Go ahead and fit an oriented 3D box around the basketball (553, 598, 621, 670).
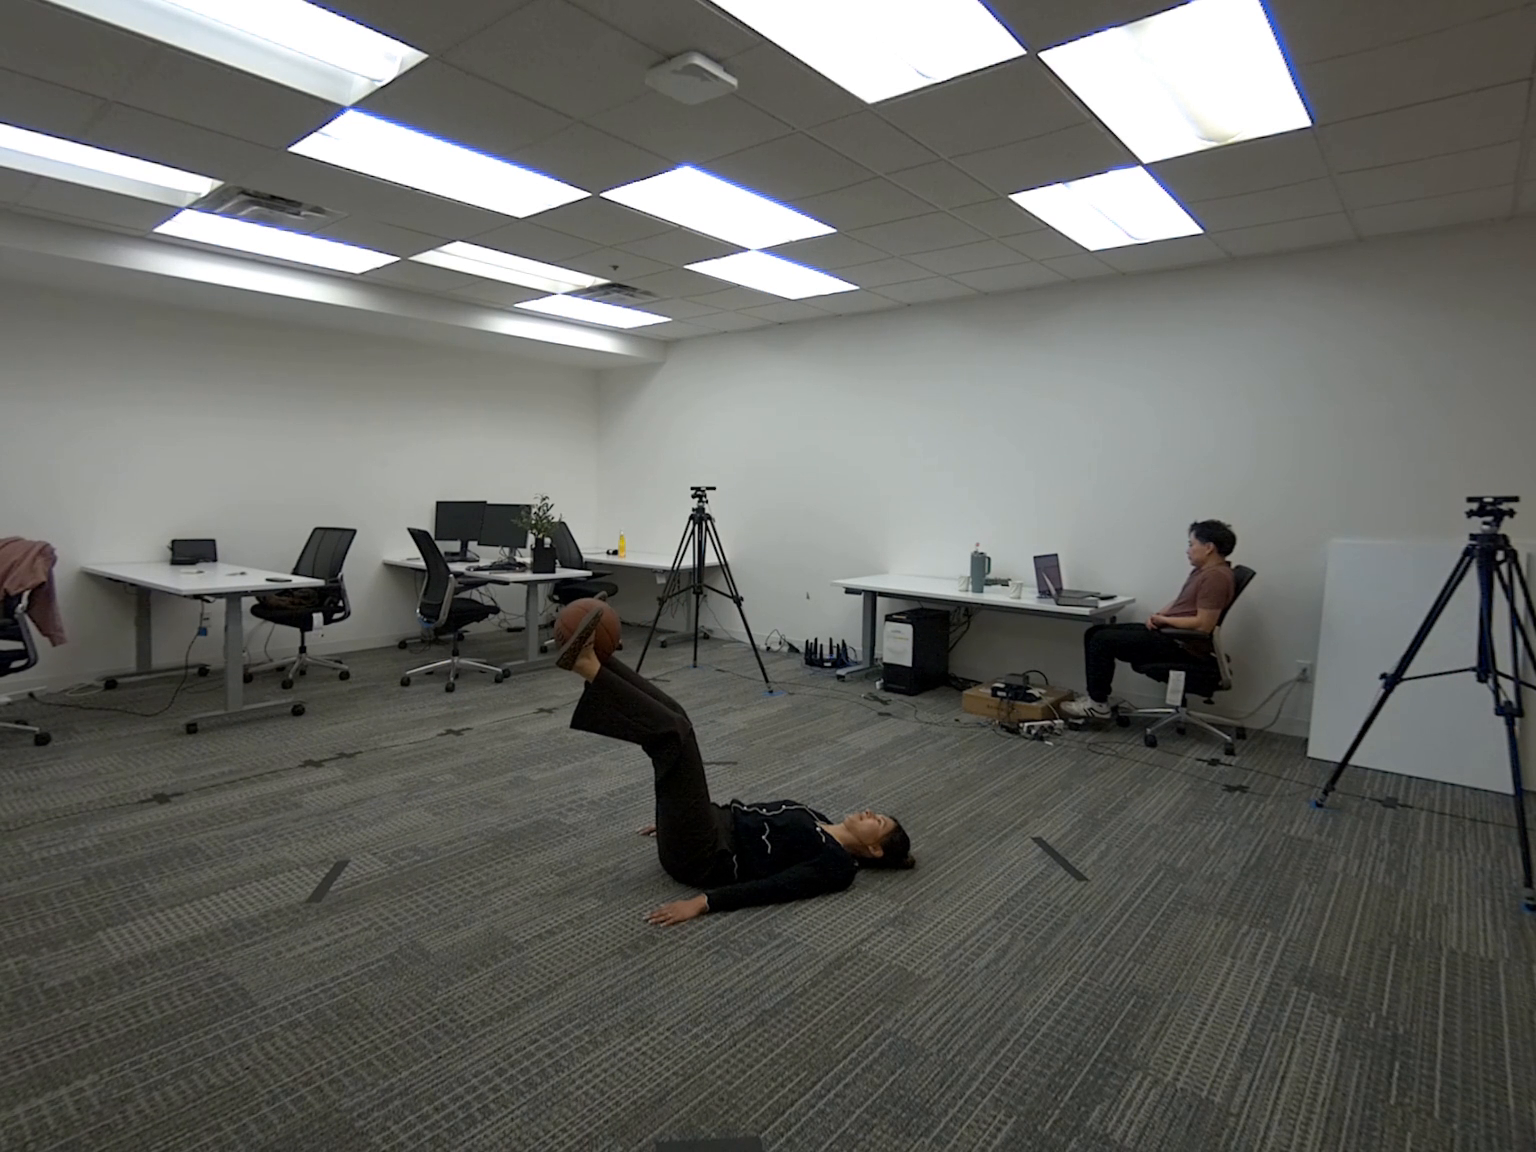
[{"bbox_3d":[-0.645,0.192,3.000,0.236,0.234,0.238,0,7,-2],"label":"basketball"}]
